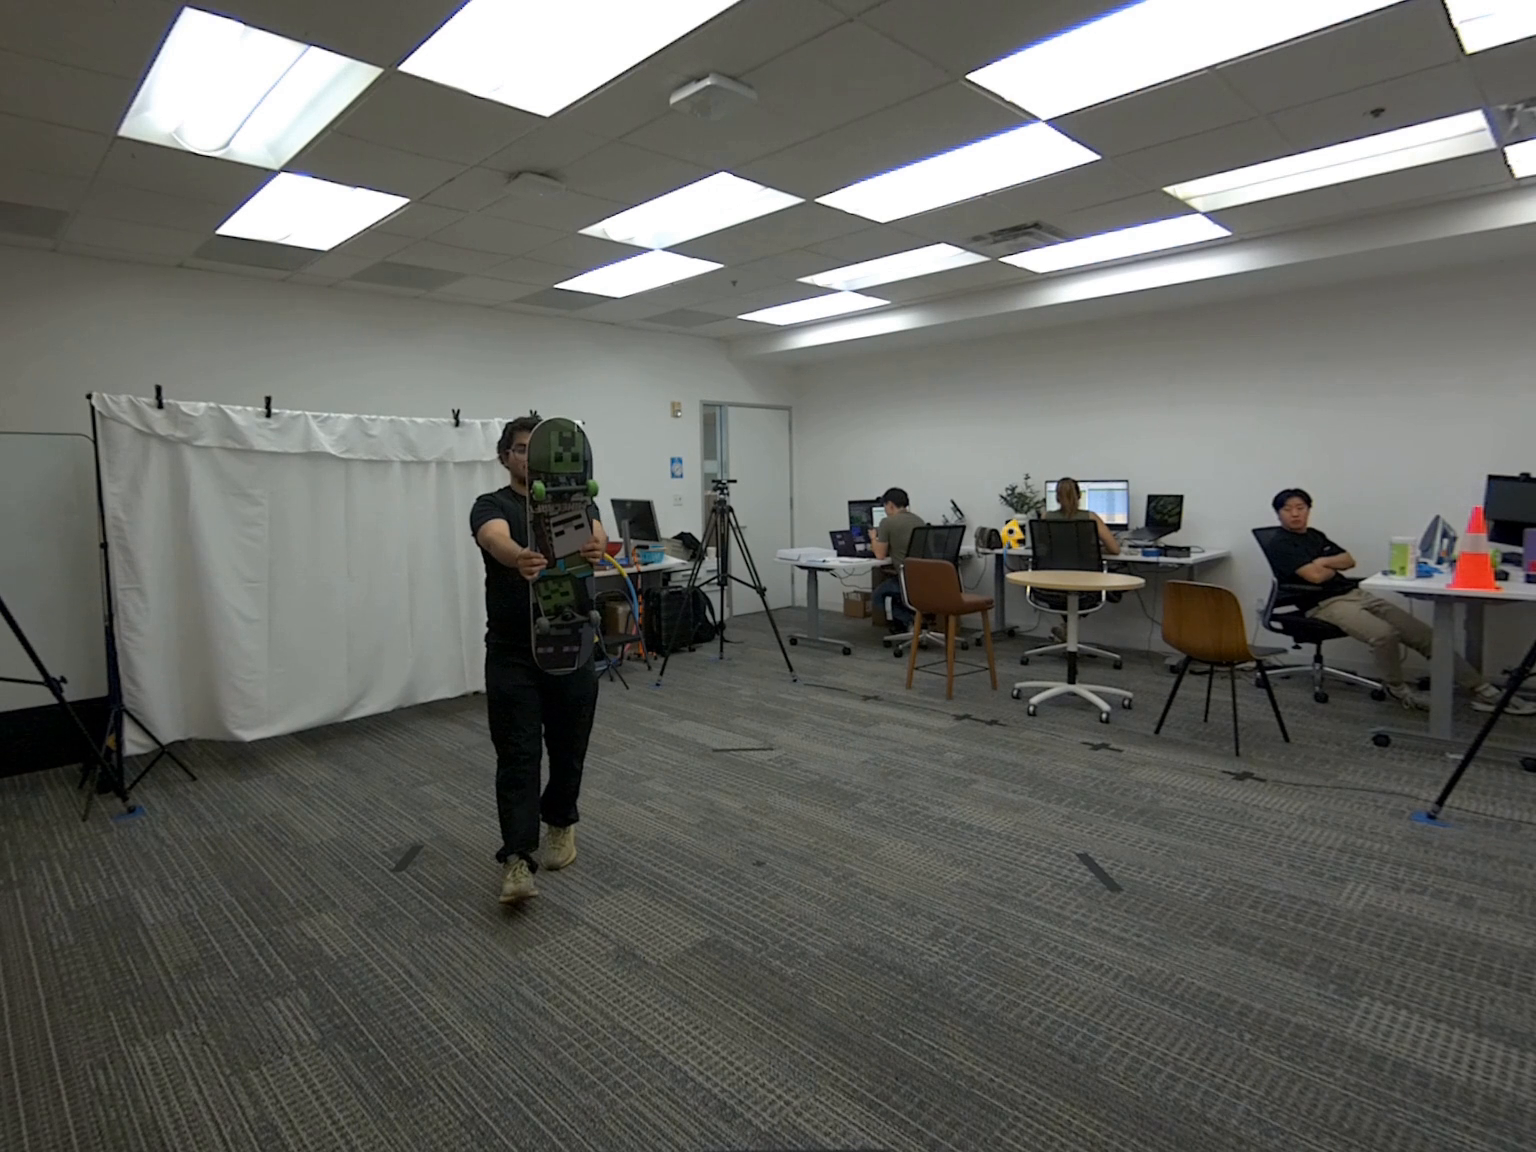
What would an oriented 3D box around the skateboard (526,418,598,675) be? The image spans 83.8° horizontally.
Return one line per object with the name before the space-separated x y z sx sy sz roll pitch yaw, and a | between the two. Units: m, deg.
skateboard | -0.591 -0.061 2.483 0.189 0.776 0.114 -5 16 -26
